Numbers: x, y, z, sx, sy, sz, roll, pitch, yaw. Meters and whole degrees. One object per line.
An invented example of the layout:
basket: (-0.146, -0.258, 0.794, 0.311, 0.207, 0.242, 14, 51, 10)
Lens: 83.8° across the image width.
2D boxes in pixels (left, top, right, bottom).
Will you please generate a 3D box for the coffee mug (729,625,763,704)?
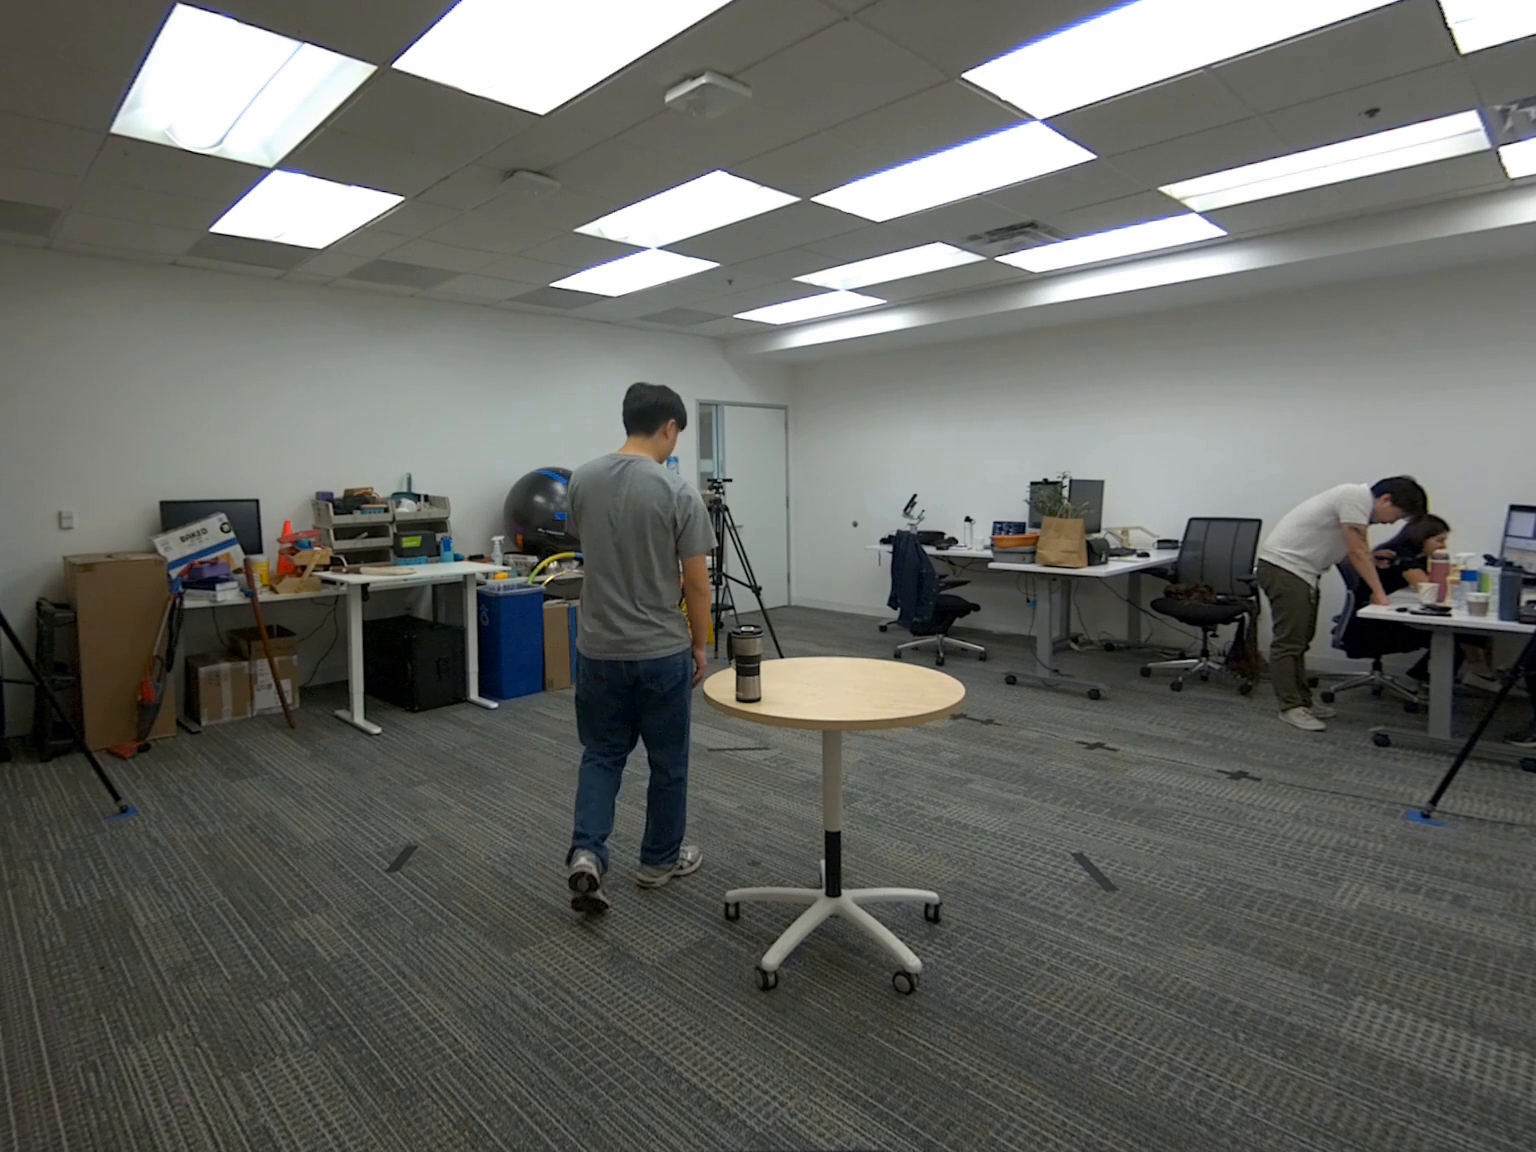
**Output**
coffee mug: (-0.057, 0.244, 2.381, 0.086, 0.201, 0.125, -4, 11, -18)
